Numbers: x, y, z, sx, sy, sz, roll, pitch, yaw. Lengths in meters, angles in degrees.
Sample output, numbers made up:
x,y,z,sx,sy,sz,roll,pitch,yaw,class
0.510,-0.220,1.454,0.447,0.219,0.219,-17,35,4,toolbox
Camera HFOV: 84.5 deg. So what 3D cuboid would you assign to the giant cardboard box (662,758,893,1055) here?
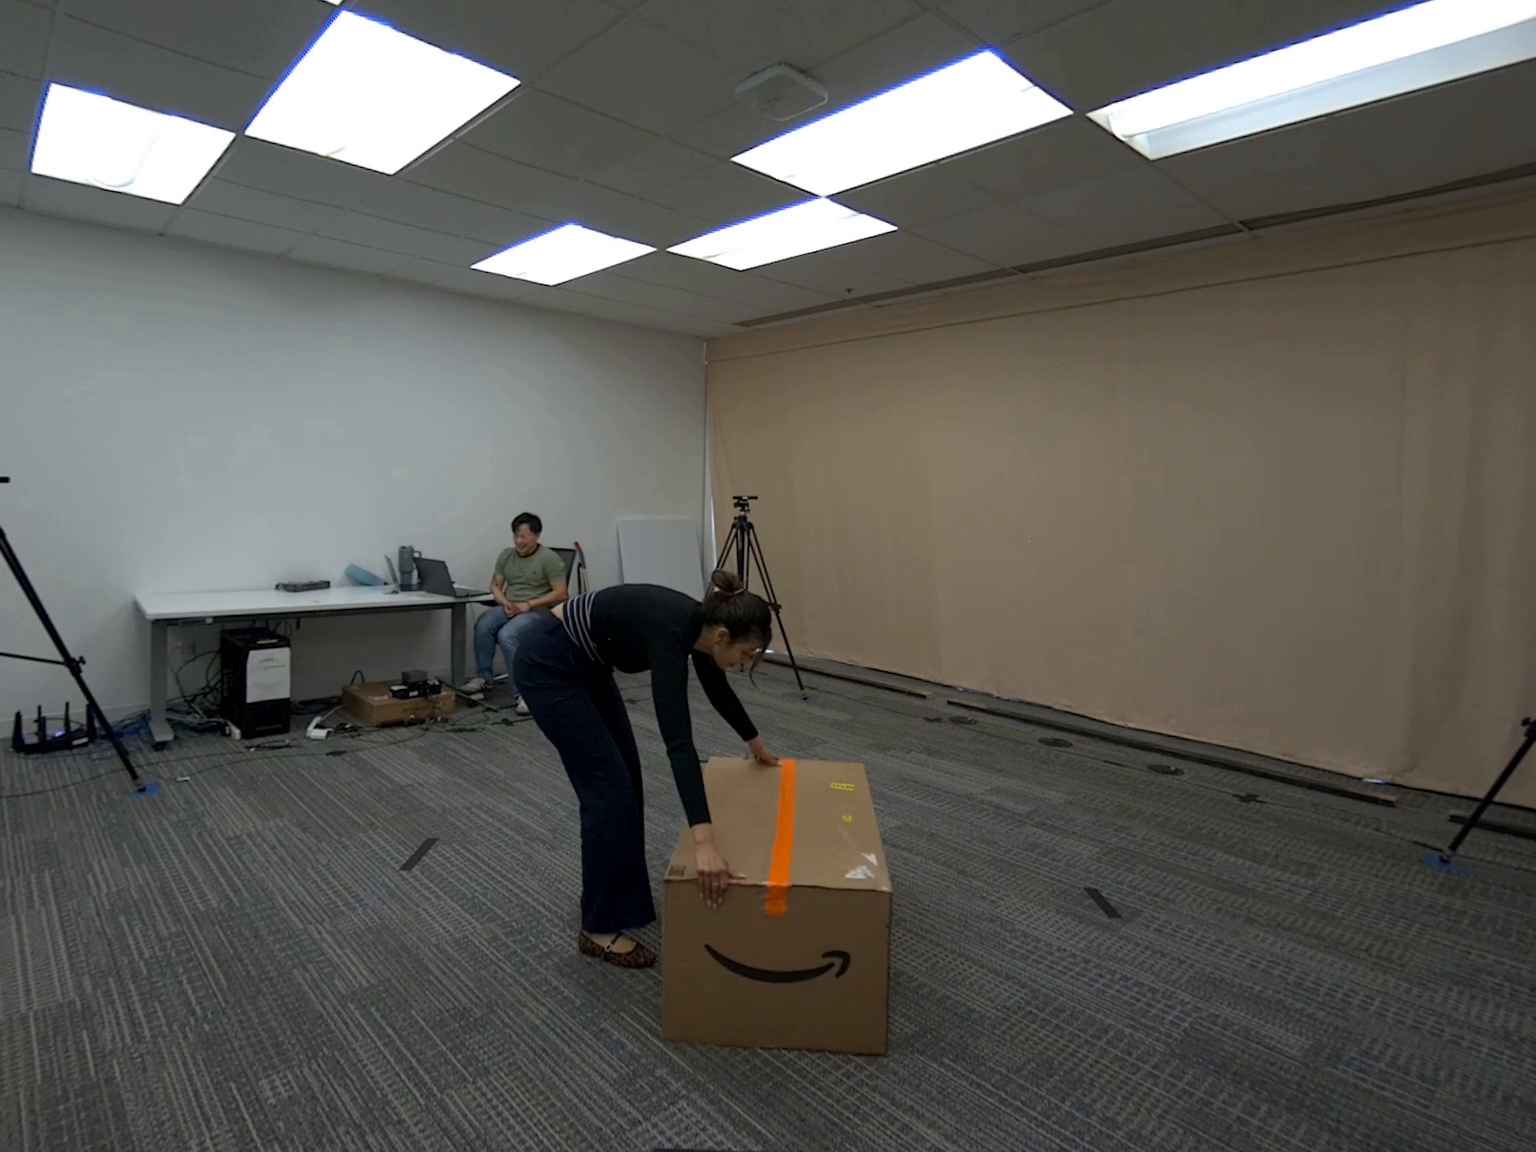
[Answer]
x,y,z,sx,sy,sz,roll,pitch,yaw,class
0.039,0.935,2.618,0.579,0.425,1.025,2,5,3,giant cardboard box
